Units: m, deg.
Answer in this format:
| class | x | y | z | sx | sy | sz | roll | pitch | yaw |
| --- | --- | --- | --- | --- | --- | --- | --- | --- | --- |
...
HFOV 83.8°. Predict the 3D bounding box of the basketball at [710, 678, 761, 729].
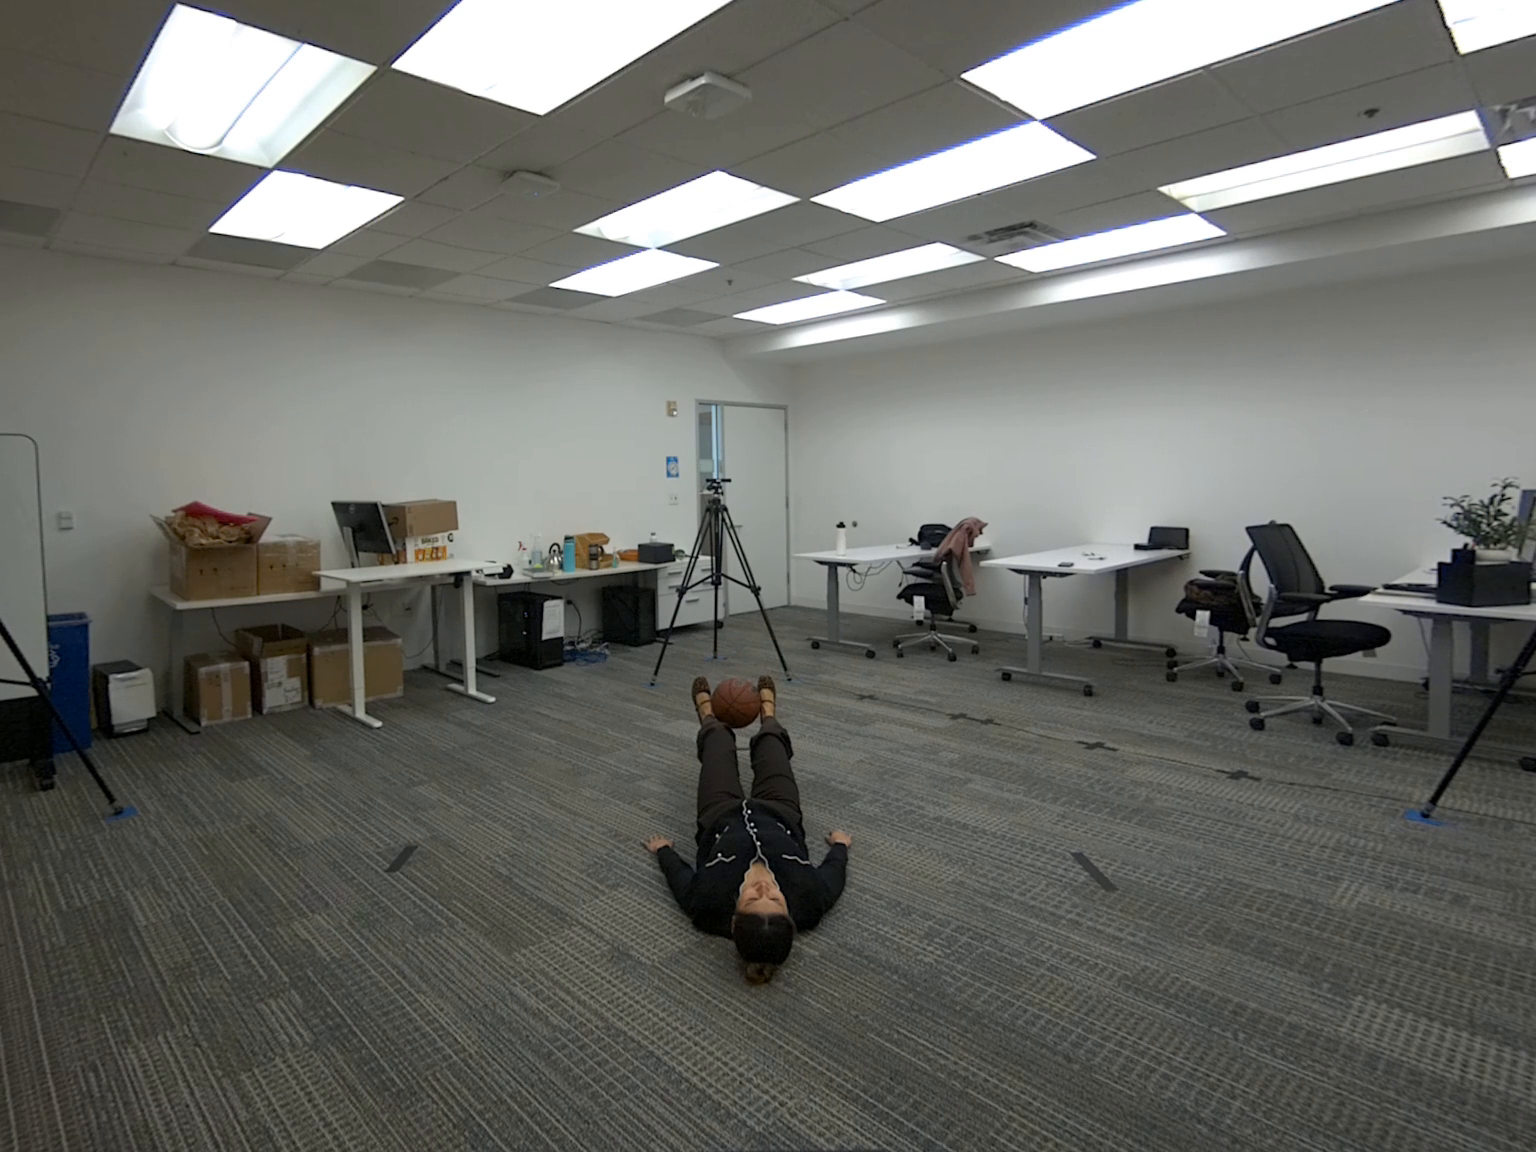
| class | x | y | z | sx | sy | sz | roll | pitch | yaw |
| --- | --- | --- | --- | --- | --- | --- | --- | --- | --- |
| basketball | -0.147 | 0.593 | 4.014 | 0.236 | 0.235 | 0.237 | -4 | 4 | -1 |
